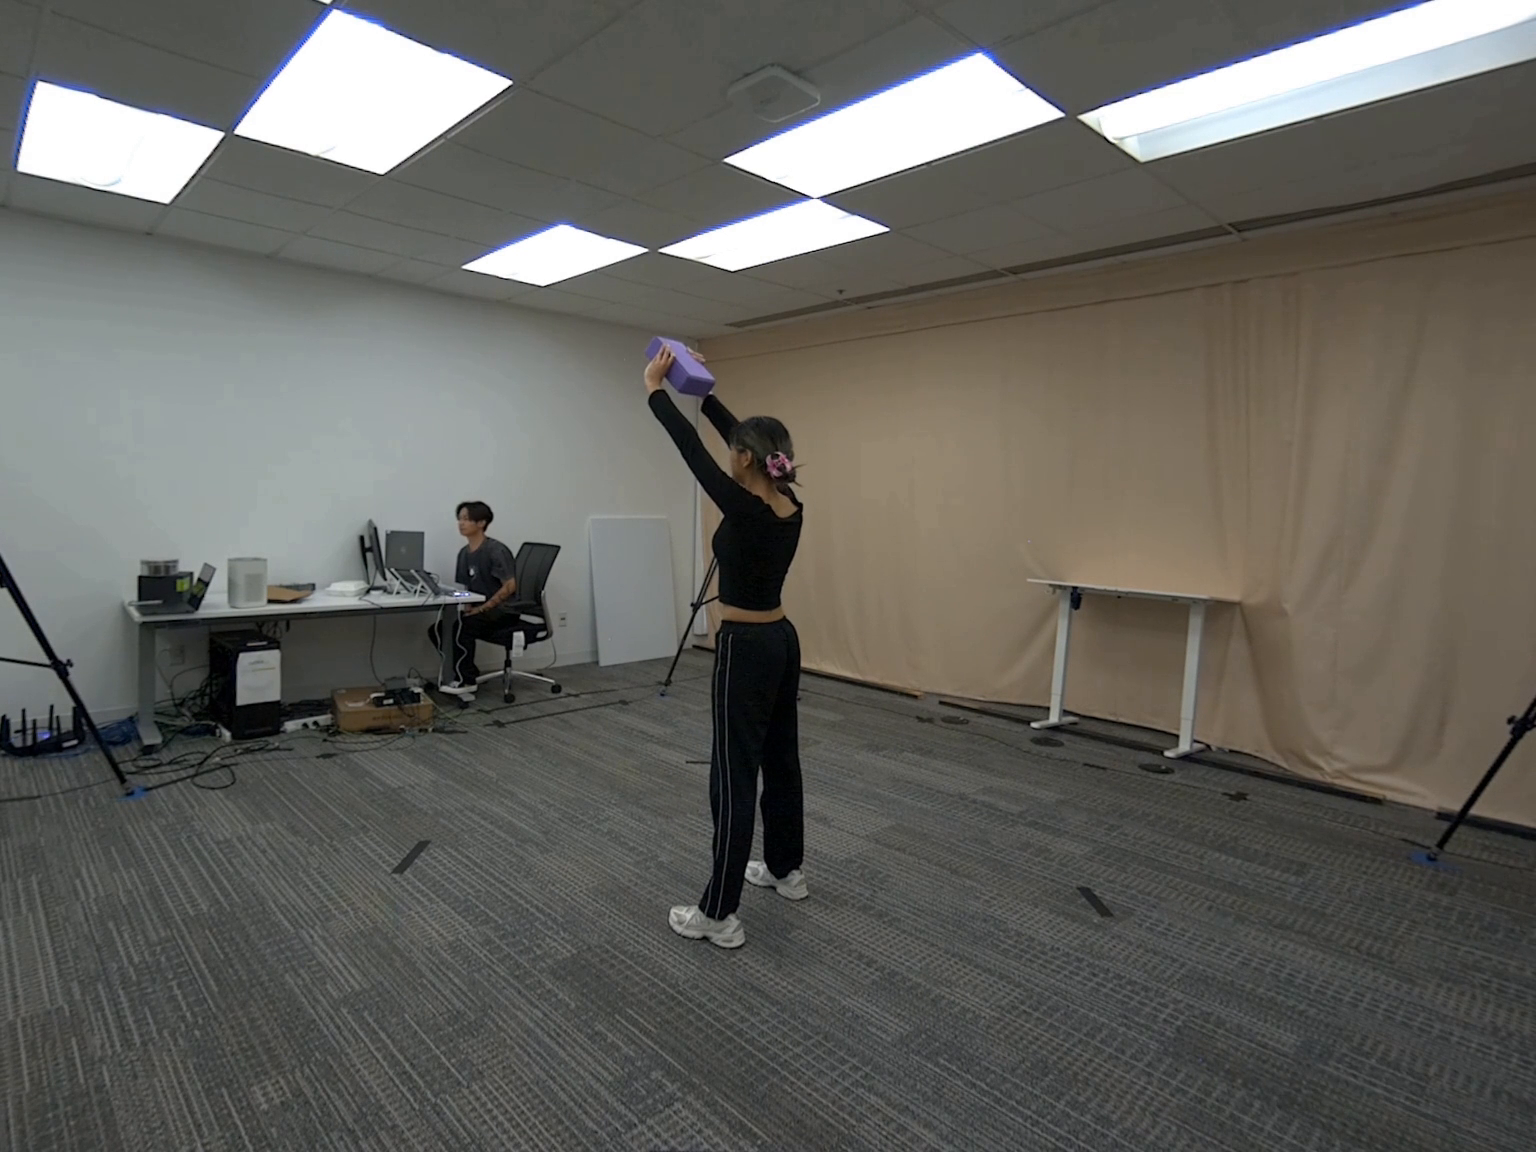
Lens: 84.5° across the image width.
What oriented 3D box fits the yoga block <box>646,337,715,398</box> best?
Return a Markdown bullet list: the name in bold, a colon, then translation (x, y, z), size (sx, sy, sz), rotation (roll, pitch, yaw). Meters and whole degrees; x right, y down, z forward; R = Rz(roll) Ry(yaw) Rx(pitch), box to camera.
- **yoga block**: translation (-0.315, -0.715, 2.891), size (0.146, 0.076, 0.235), rotation (-3, 46, -53)
